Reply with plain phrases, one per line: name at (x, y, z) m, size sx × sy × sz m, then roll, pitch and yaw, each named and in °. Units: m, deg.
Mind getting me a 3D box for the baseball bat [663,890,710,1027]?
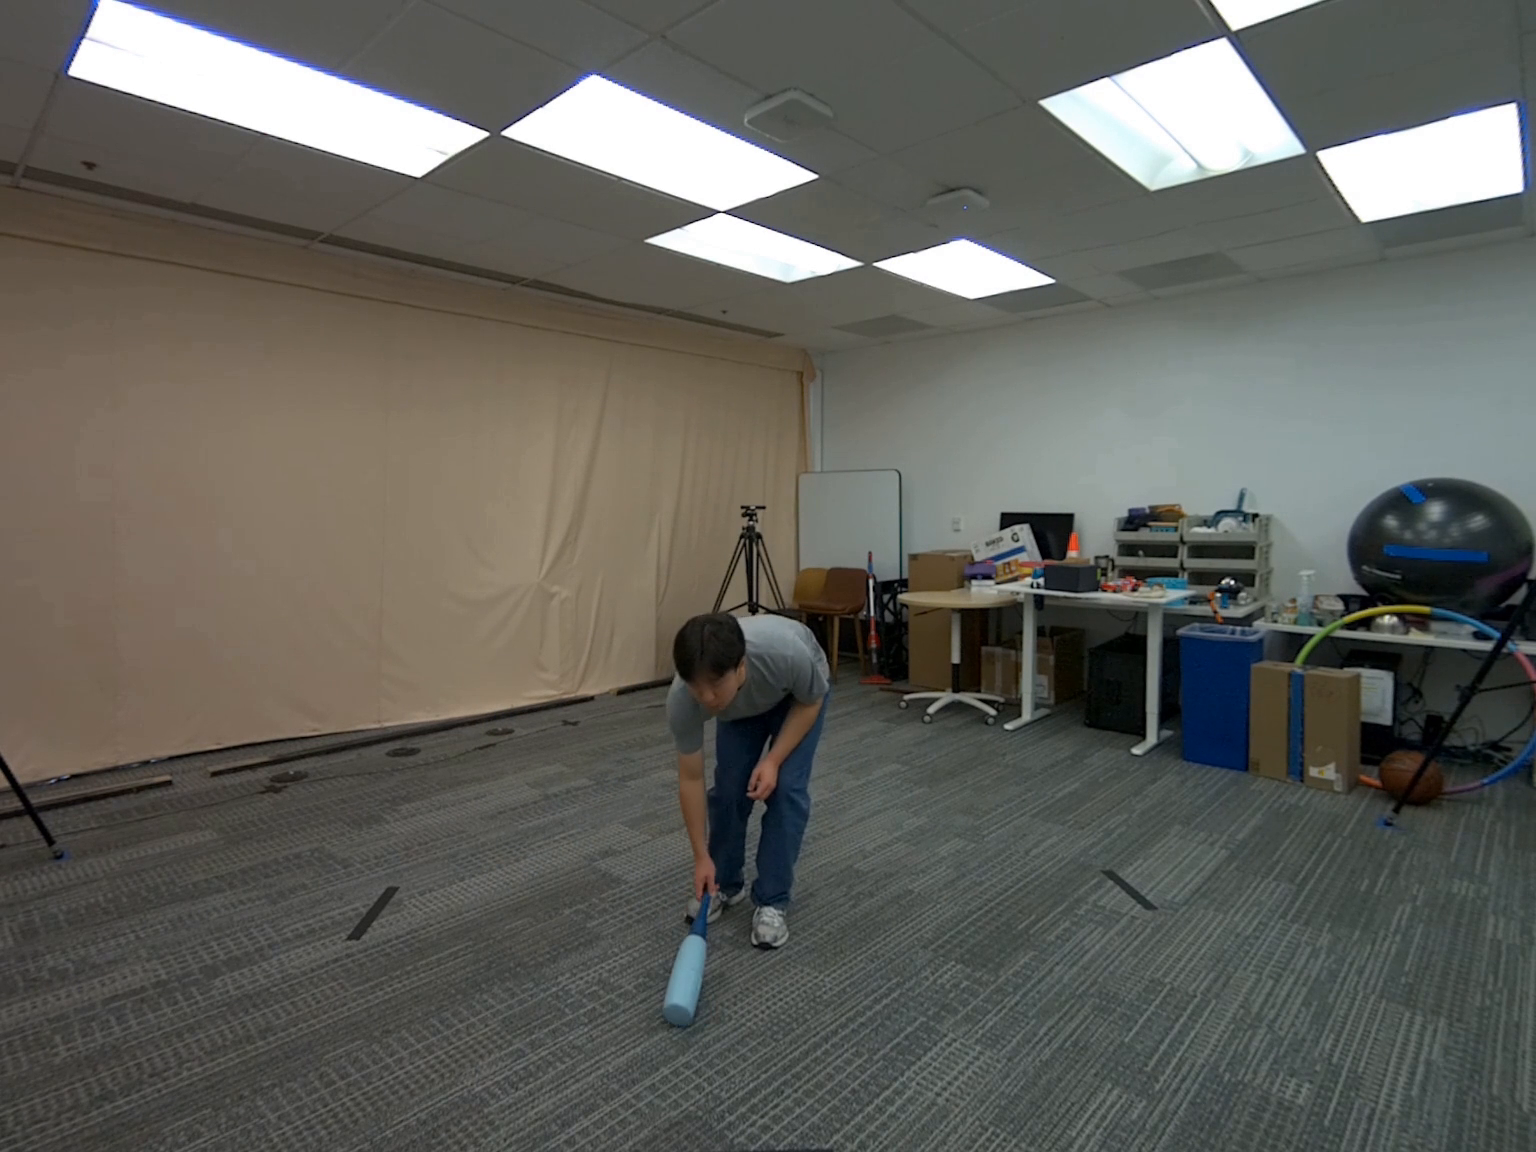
baseball bat at (-0.207, 1.067, 2.496) m, size 0.090 × 0.088 × 0.543 m, roll 0°, pitch 18°, yaw 9°
